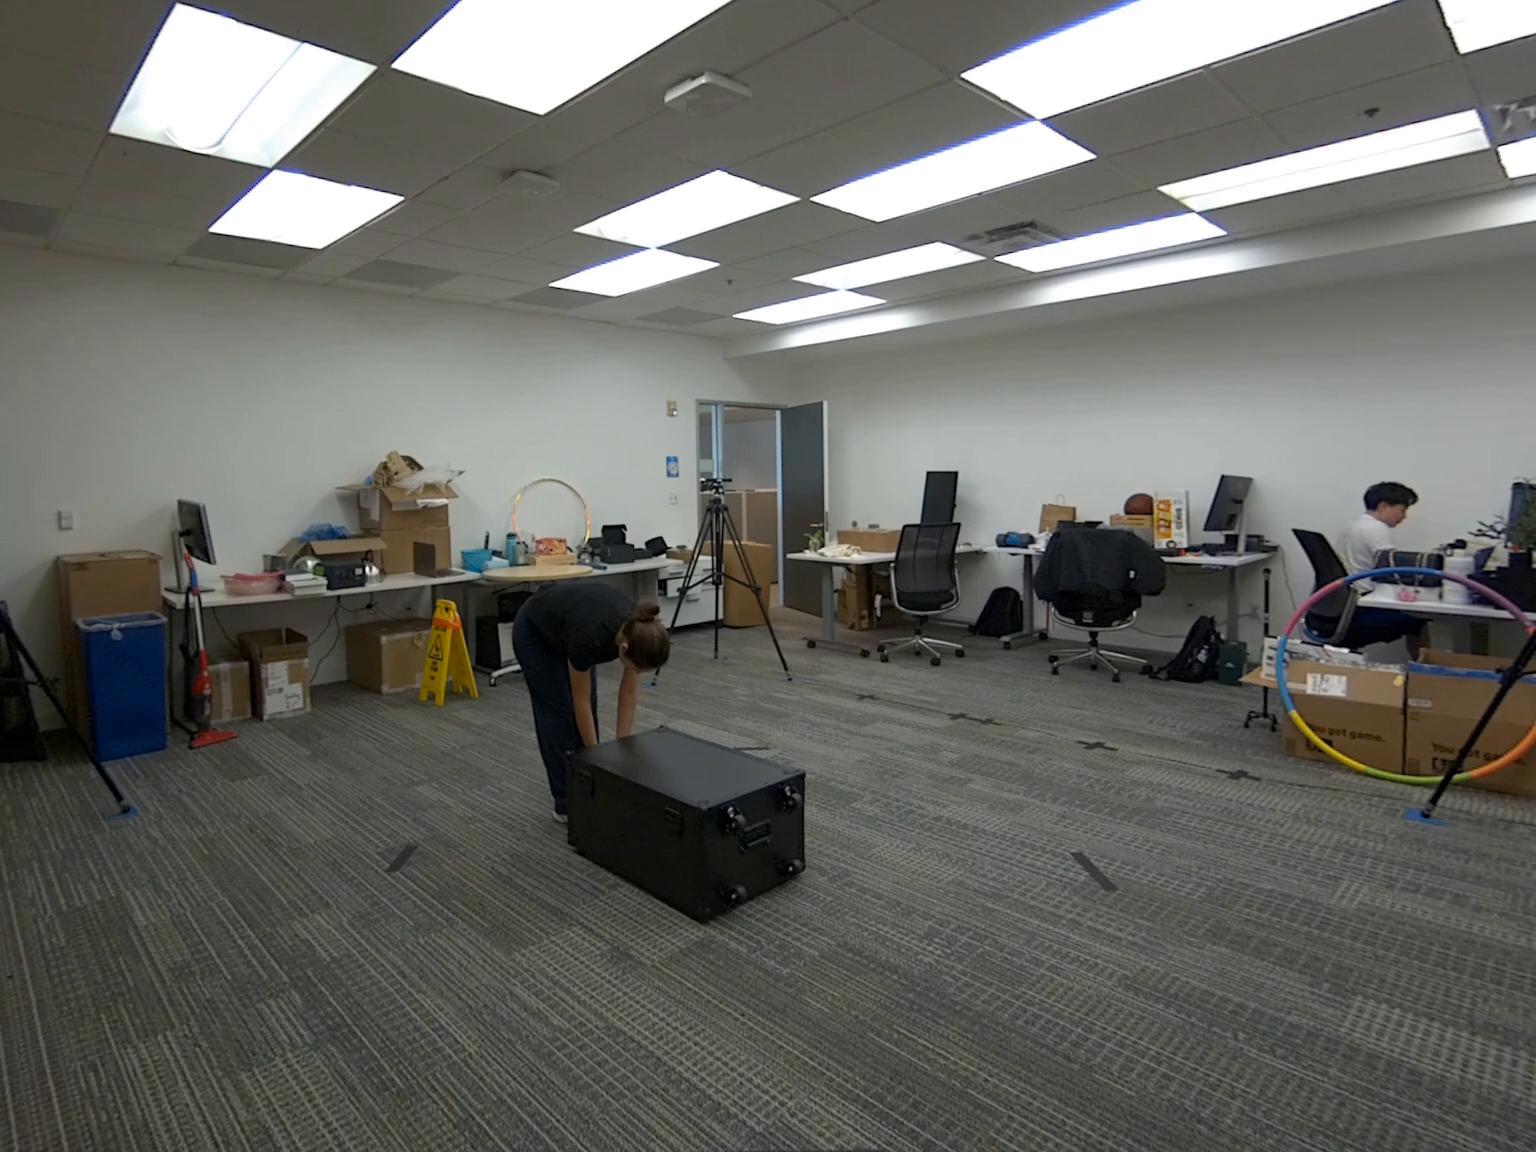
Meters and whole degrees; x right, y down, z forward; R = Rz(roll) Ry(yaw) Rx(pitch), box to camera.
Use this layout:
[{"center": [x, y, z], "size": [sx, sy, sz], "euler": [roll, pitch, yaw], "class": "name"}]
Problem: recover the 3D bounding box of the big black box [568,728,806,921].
[{"center": [-0.296, 0.862, 3.090], "size": [0.508, 0.395, 0.888], "euler": [-7, 7, -44], "class": "big black box"}]
